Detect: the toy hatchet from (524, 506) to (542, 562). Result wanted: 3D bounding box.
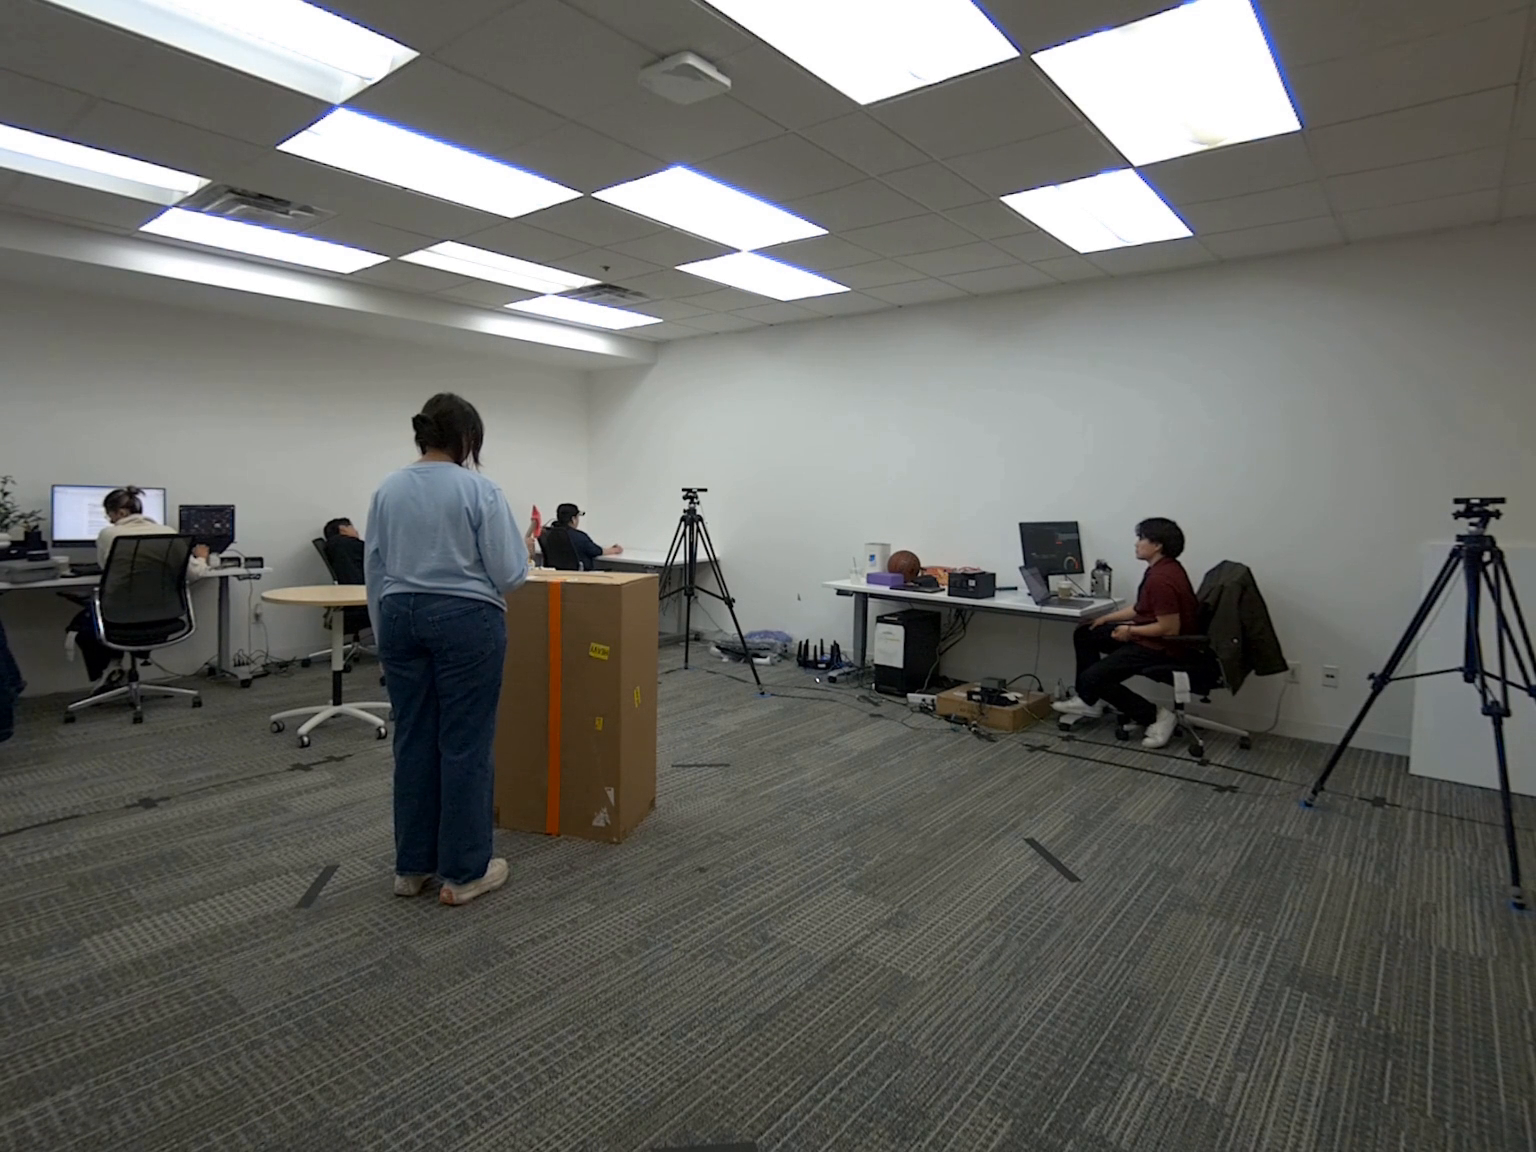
[{"bbox_3d":[-0.925,-0.154,3.264,0.029,0.127,0.278,-1,45,-2],"label":"toy hatchet"}]
